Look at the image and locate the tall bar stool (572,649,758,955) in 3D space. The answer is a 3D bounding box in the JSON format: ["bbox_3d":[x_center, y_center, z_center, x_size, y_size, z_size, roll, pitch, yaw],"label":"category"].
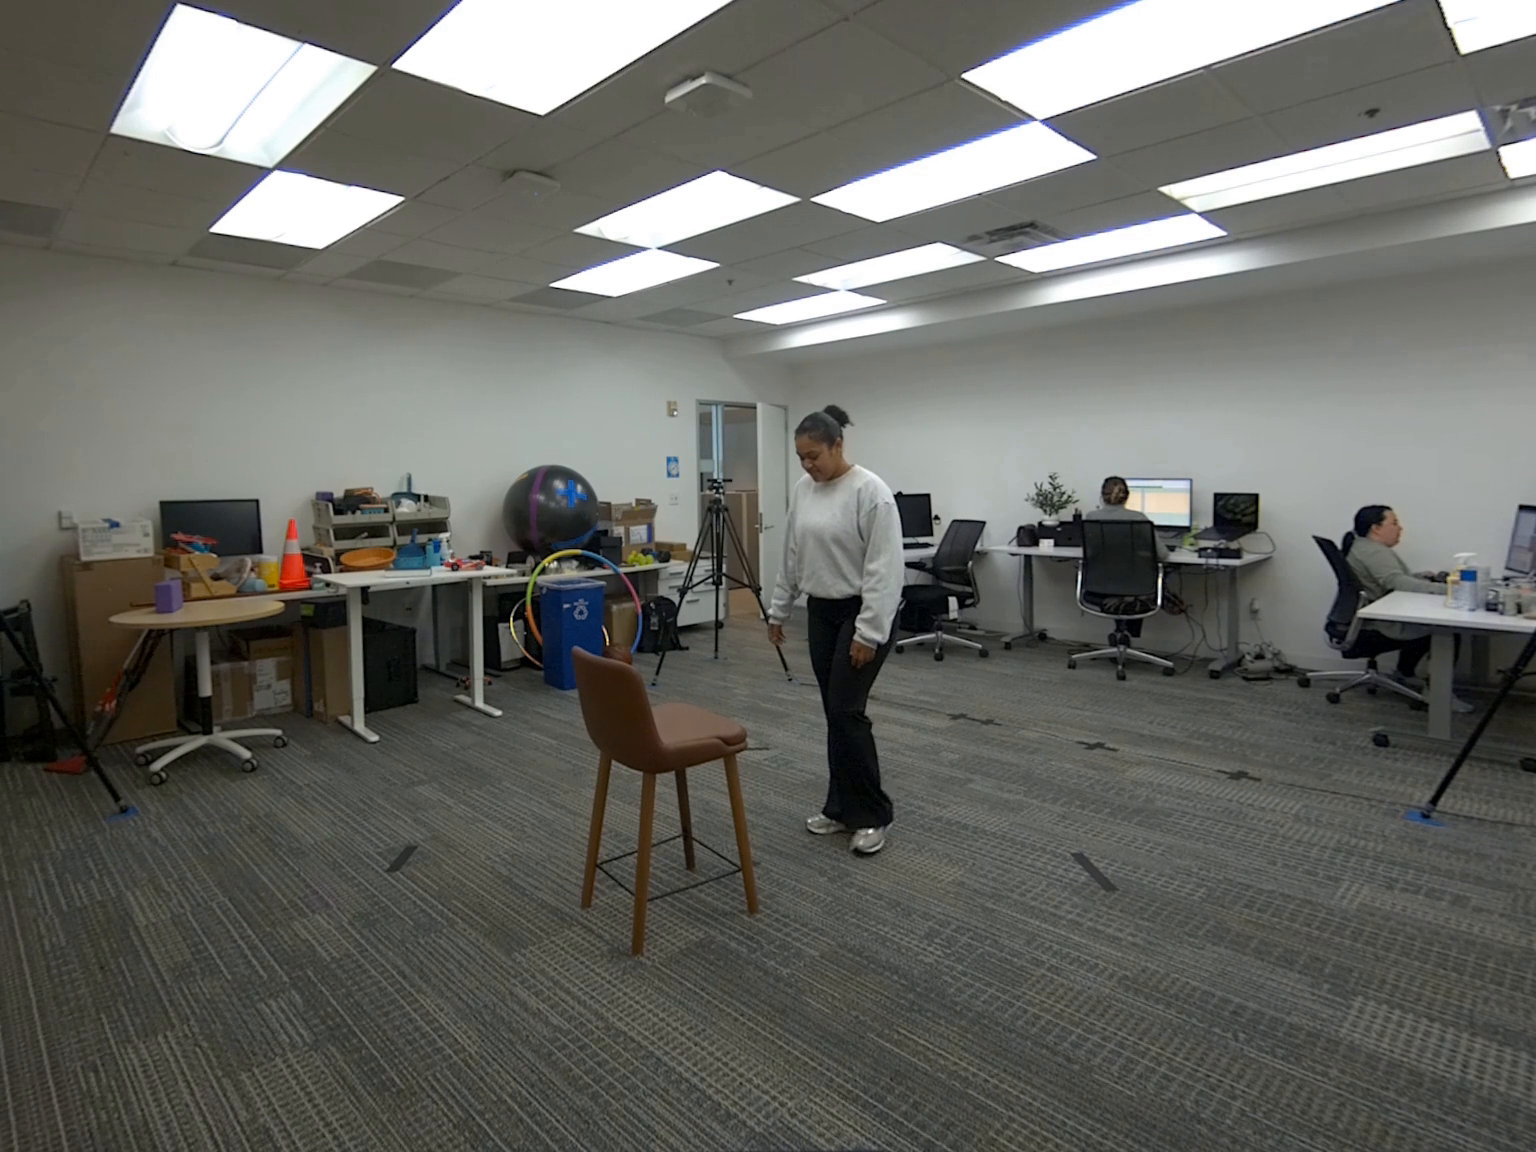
[{"bbox_3d":[-0.340,0.656,2.761,0.456,0.885,0.470,-7,7,-36],"label":"tall bar stool"}]
